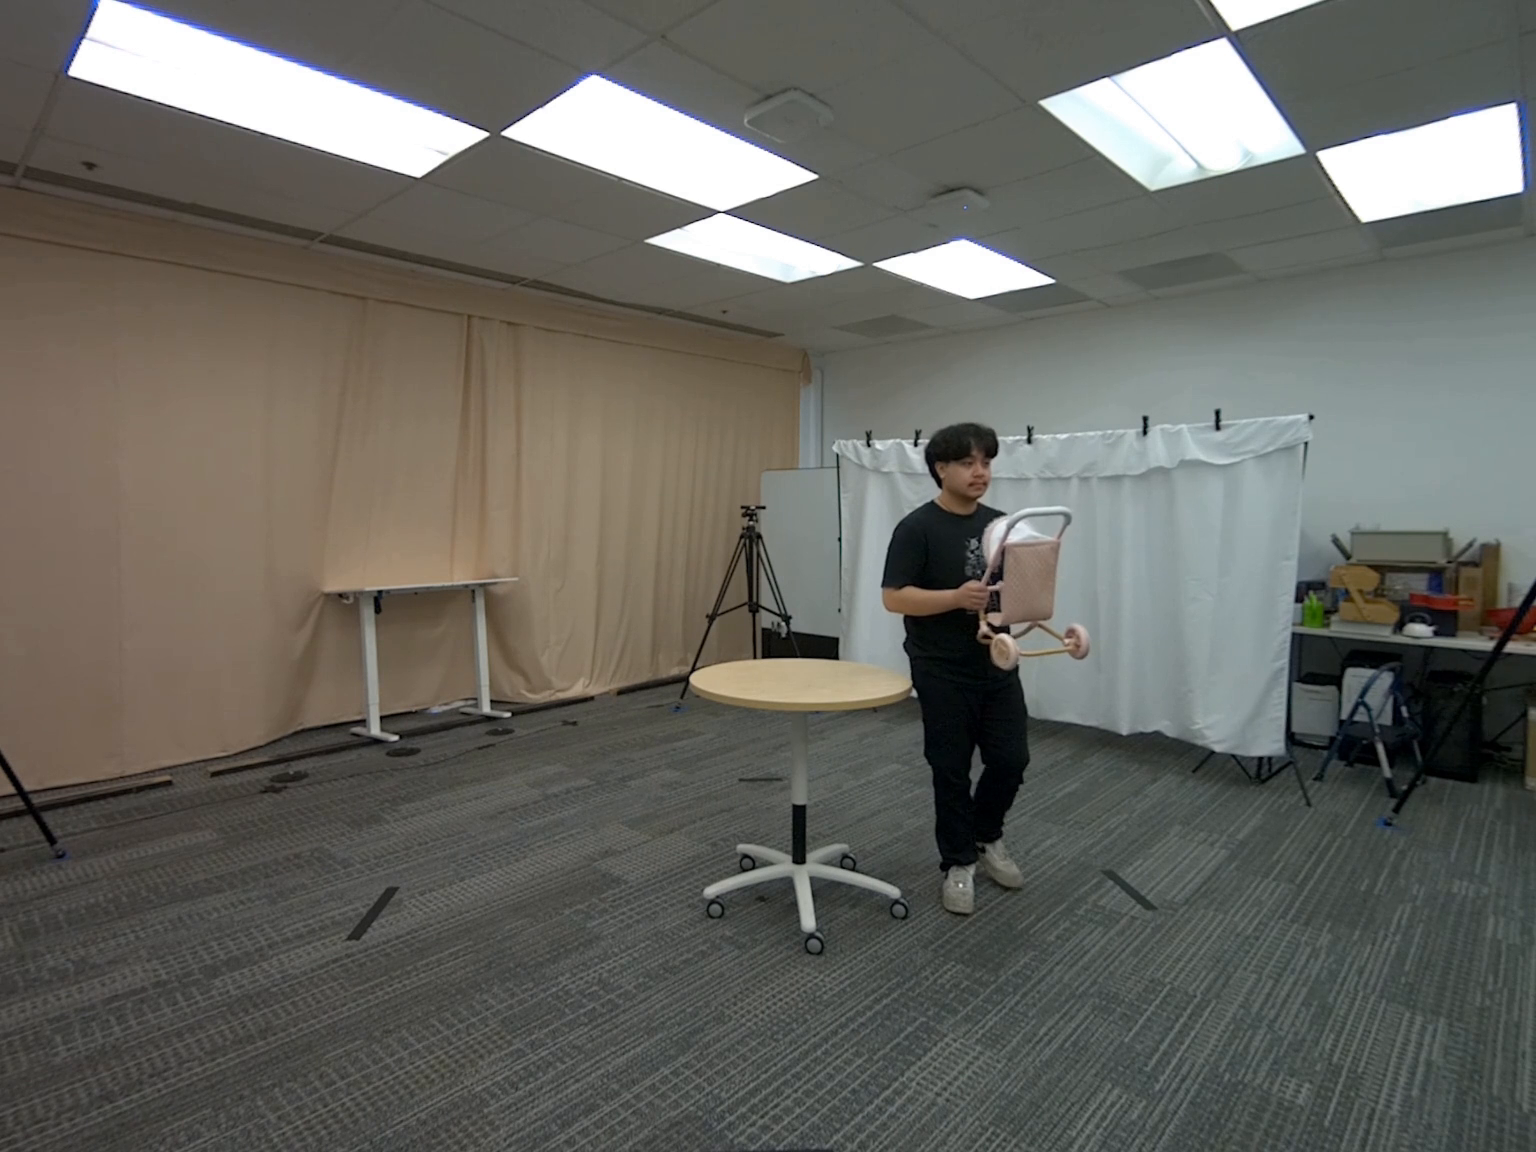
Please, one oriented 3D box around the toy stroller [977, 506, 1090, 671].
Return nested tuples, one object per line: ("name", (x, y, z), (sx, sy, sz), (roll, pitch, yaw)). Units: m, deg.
("toy stroller", (0.787, 0.053, 2.640), (0.279, 0.533, 0.346), (-6, 6, -10))
